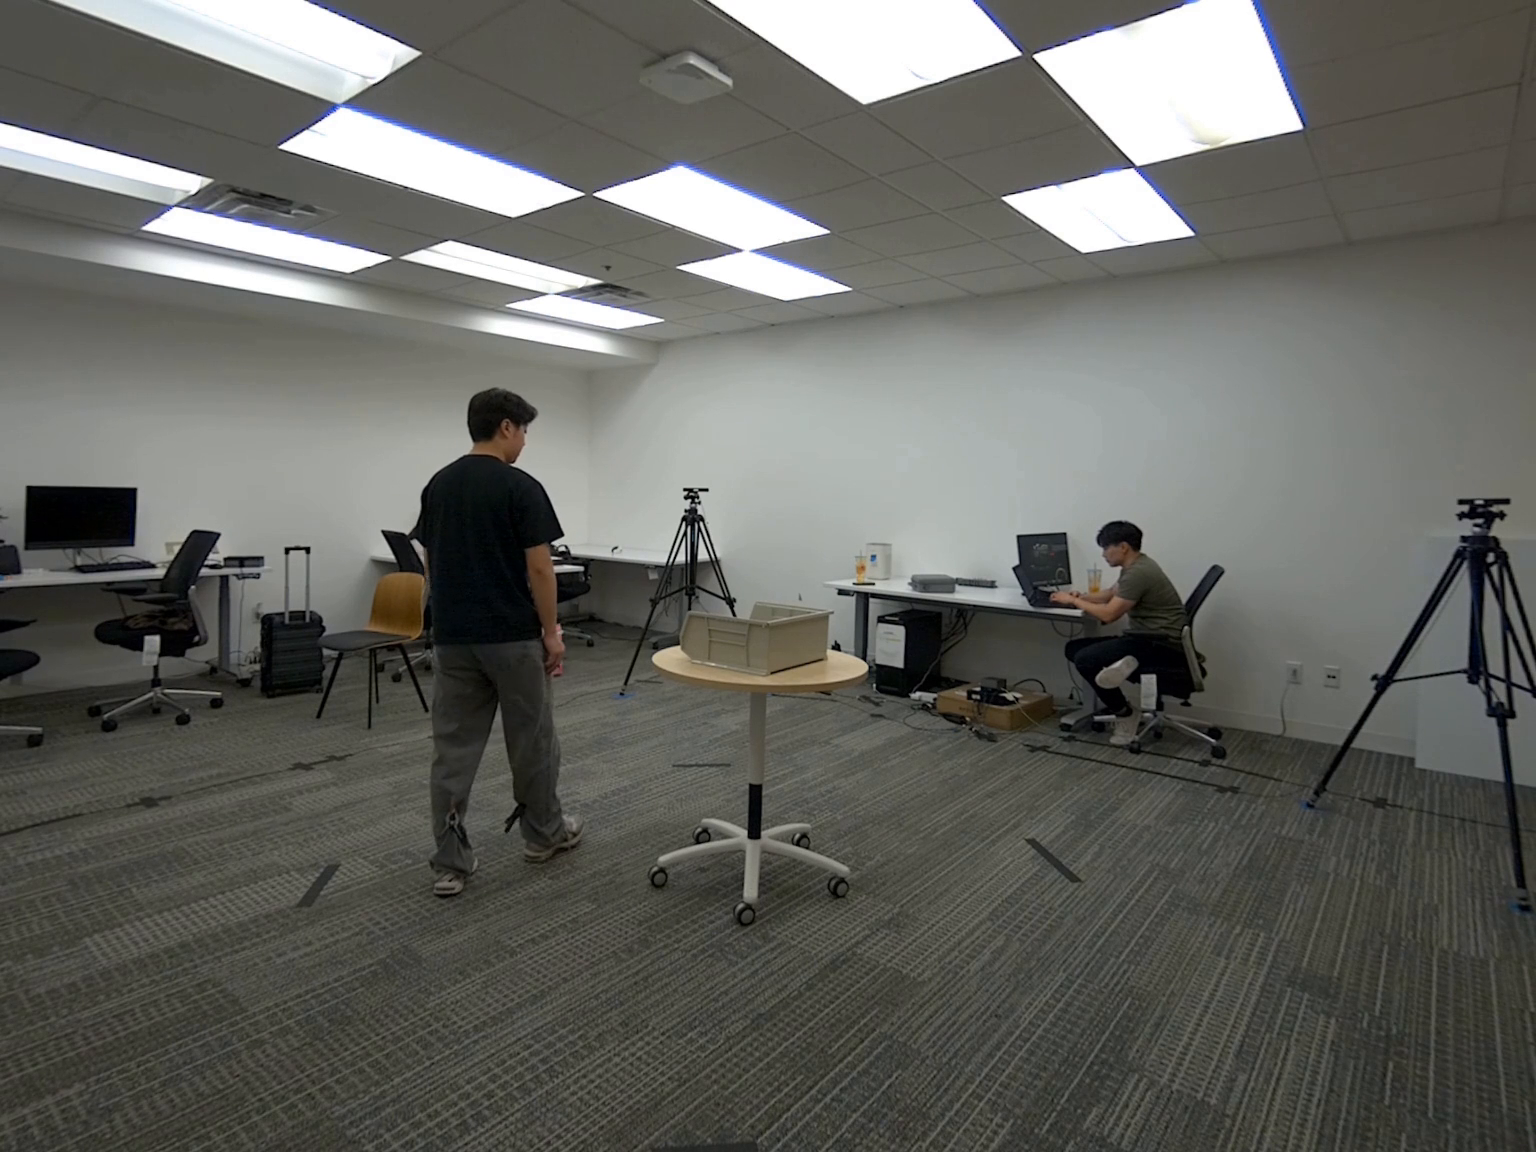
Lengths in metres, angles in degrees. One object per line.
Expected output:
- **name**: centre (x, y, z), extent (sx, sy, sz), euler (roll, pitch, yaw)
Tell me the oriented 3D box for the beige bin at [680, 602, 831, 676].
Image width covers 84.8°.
- **beige bin**: centre (-0.045, 0.213, 3.025), extent (0.390, 0.188, 0.410), euler (7, 7, 36)
